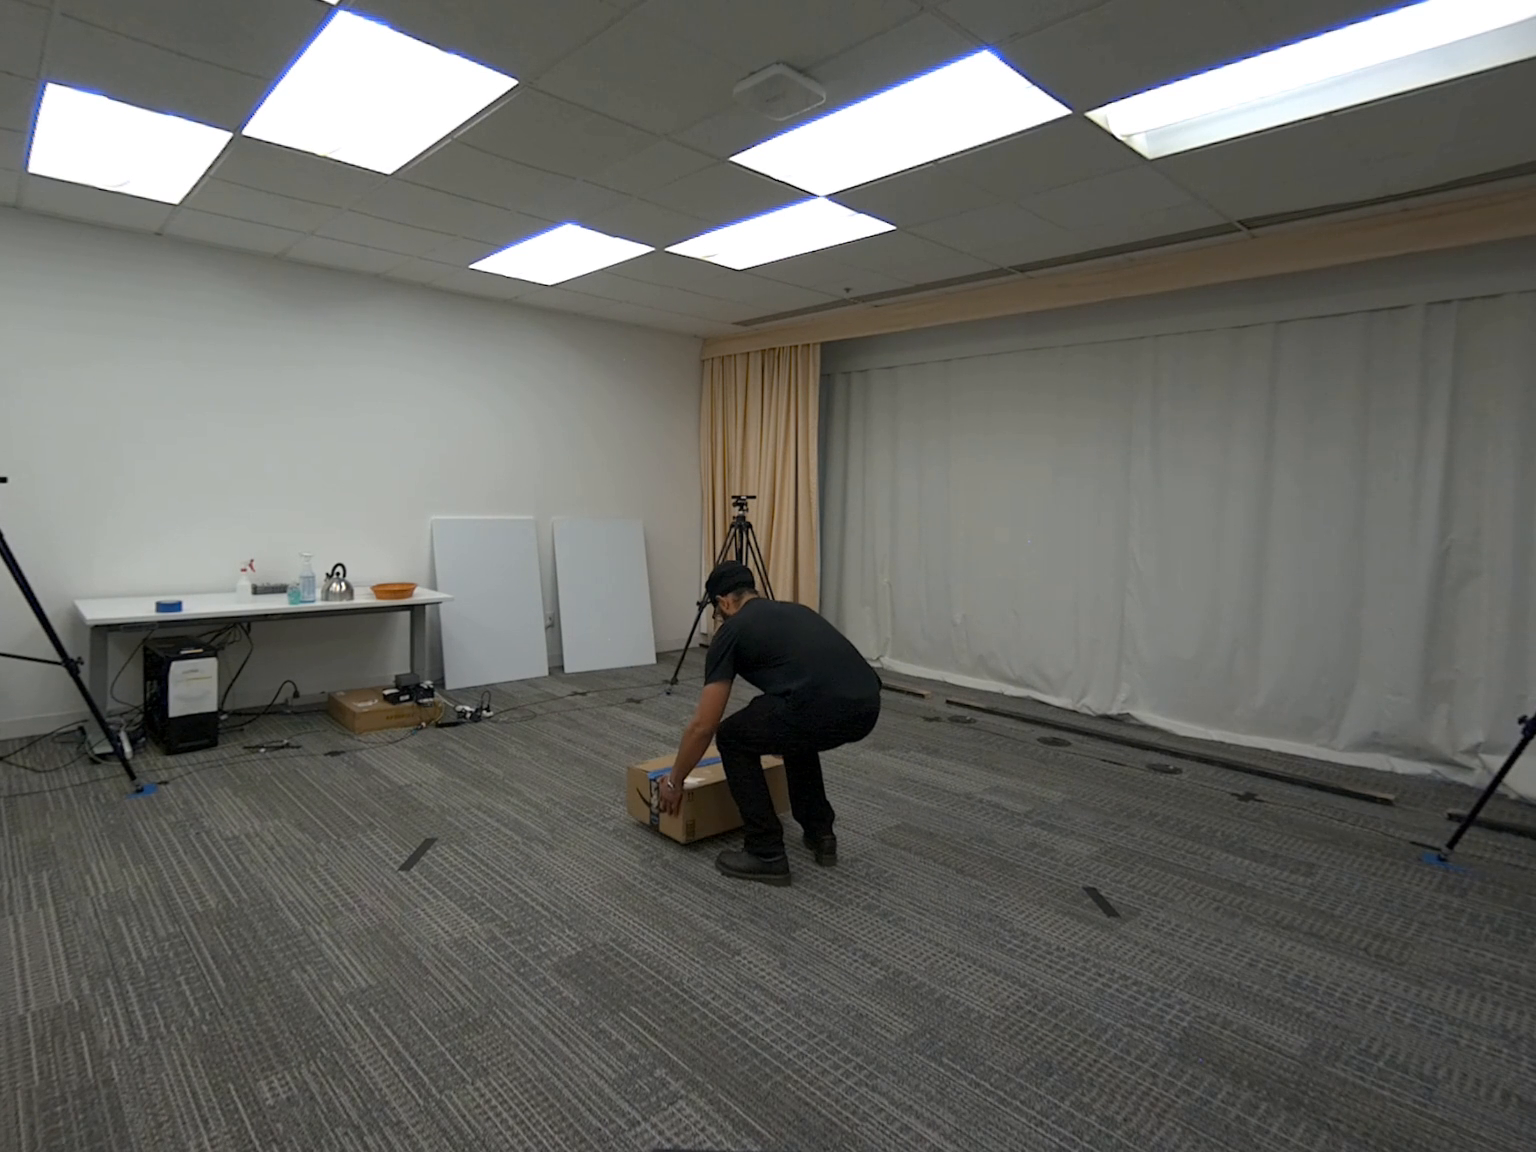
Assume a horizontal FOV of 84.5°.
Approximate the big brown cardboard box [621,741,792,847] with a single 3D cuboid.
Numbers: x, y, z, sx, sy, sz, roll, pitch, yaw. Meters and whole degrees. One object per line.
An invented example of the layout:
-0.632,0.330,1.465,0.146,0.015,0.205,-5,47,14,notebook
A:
-0.254,0.889,3.573,0.575,0.233,0.428,-2,5,-41,big brown cardboard box
